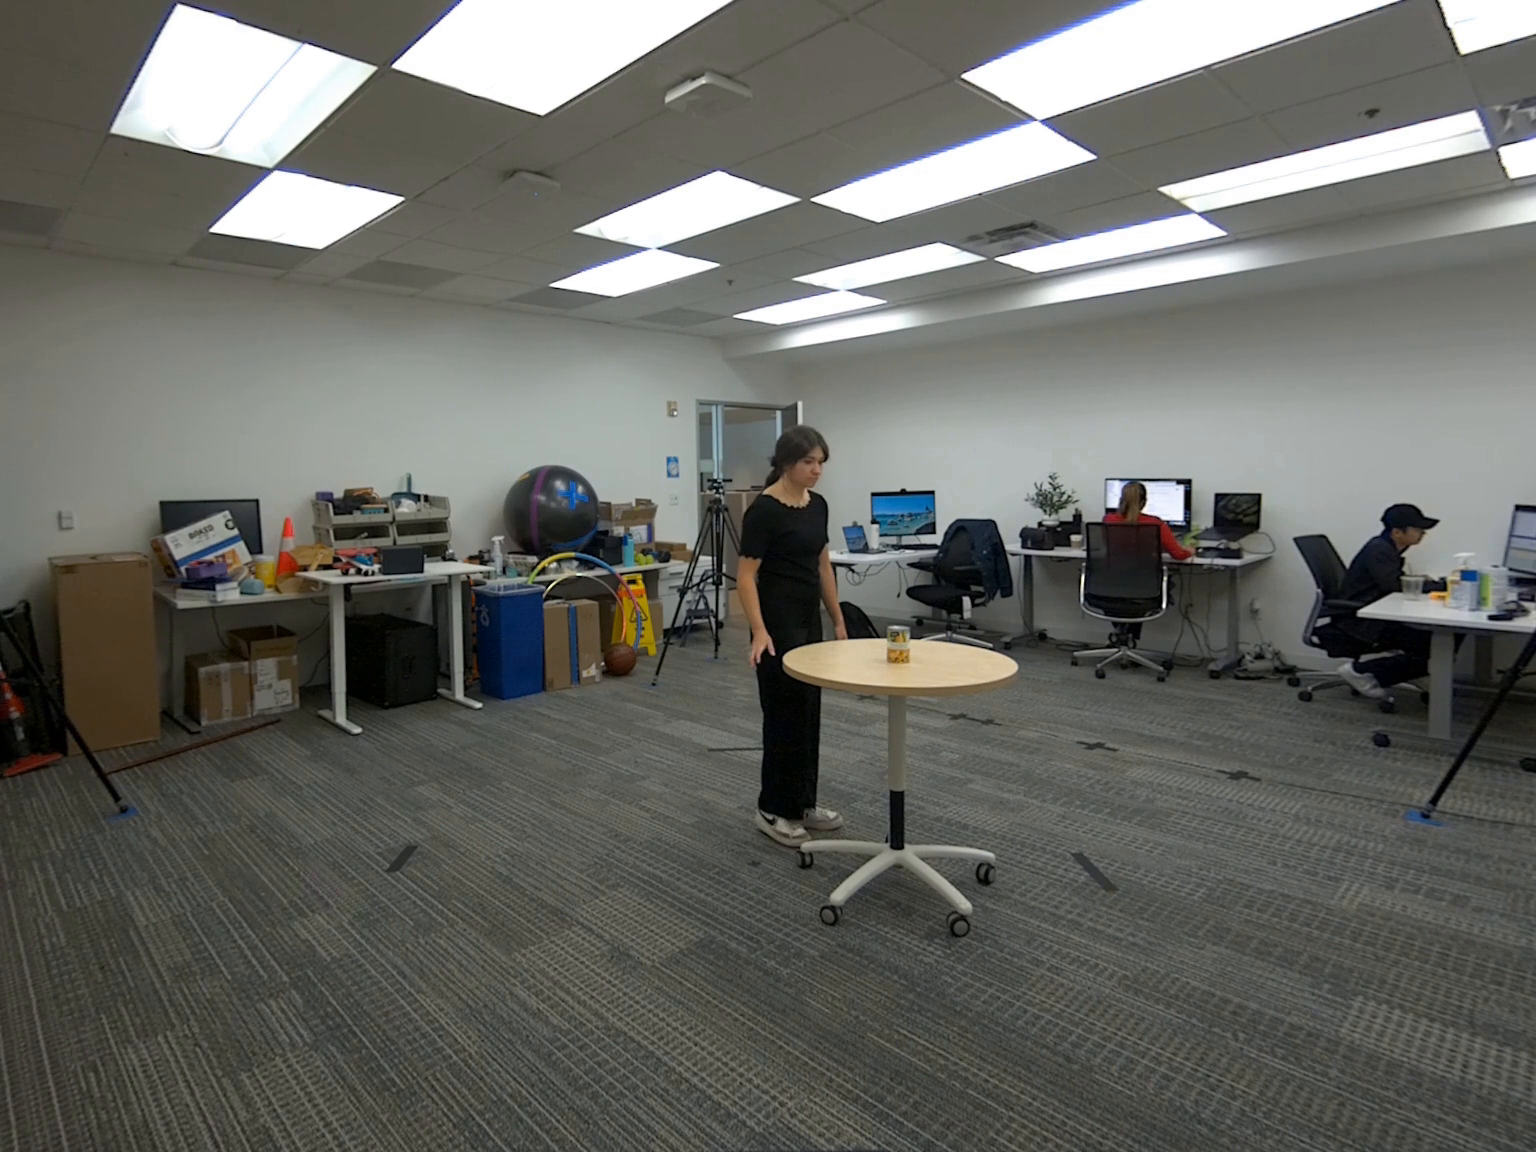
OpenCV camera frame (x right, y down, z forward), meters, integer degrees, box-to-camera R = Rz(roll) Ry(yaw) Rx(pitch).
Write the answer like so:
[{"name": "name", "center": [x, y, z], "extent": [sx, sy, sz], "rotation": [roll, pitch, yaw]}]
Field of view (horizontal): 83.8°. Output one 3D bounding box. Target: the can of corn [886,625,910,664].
[{"name": "can of corn", "center": [0.441, 0.227, 2.829], "extent": [0.074, 0.111, 0.074], "rotation": [0, 4, -2]}]
